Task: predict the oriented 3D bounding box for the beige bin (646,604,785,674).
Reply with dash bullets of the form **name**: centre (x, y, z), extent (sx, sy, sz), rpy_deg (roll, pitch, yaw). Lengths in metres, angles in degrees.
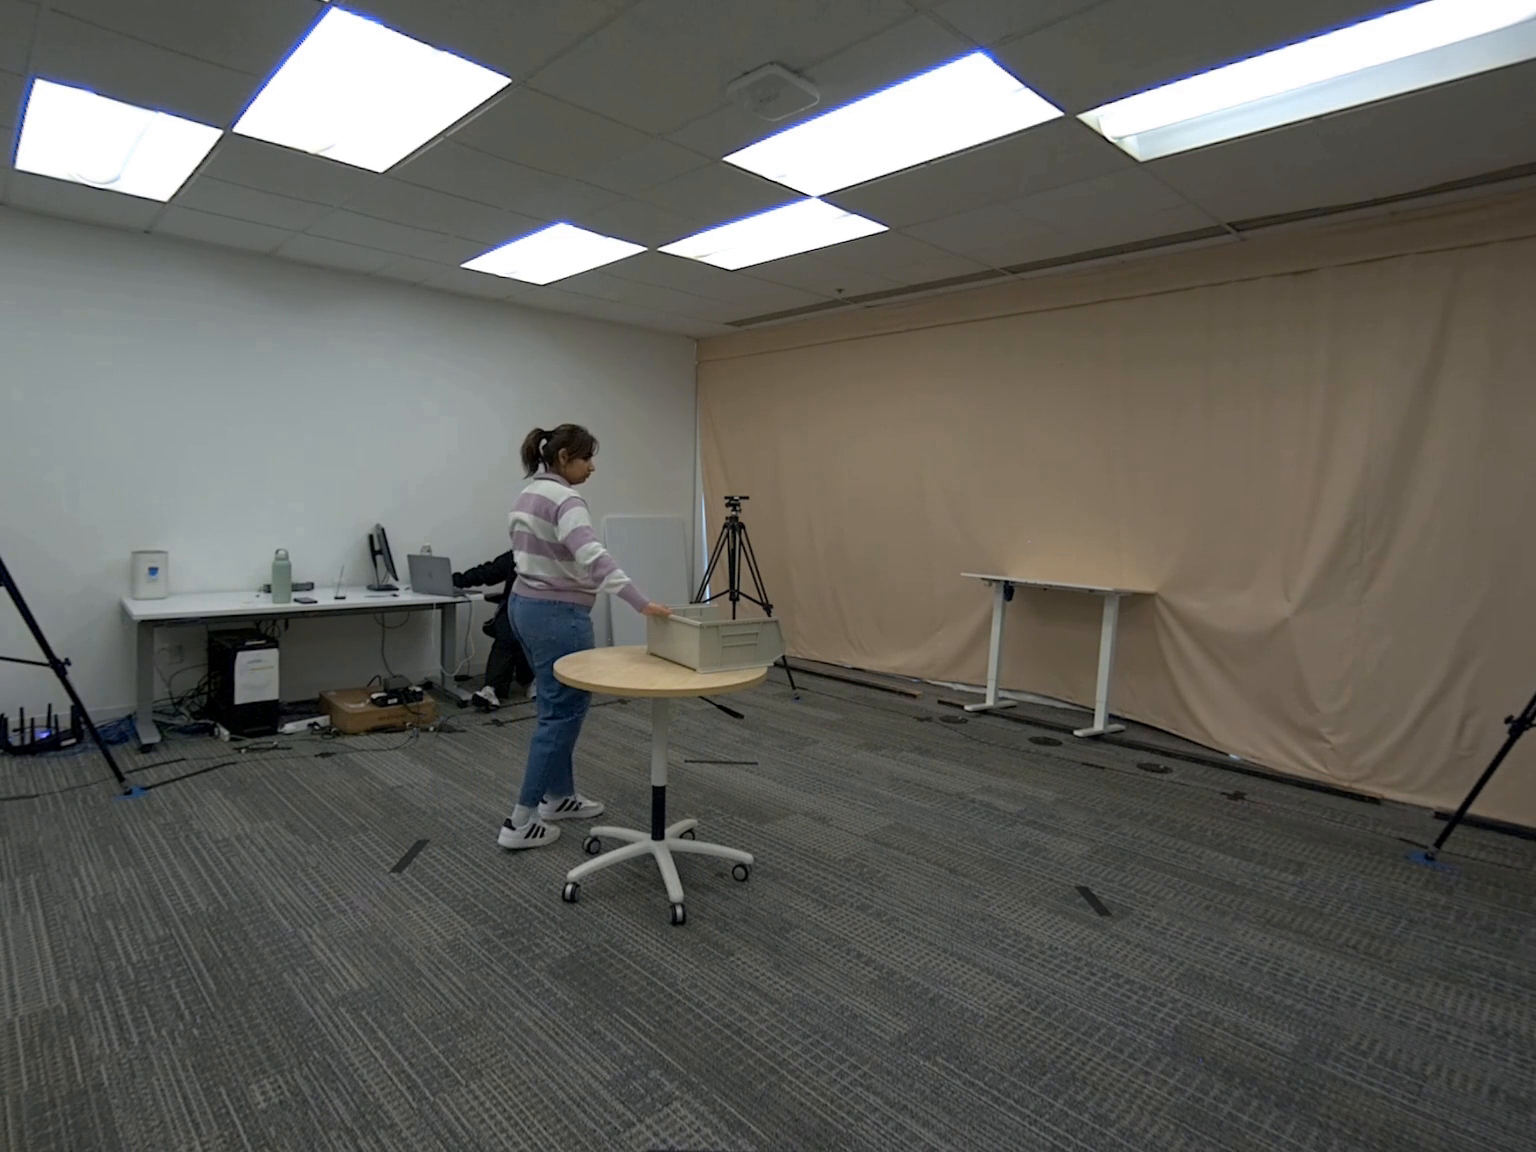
- **beige bin**: centre (-0.212, 0.223, 3.157), extent (0.370, 0.188, 0.433), rpy_deg (-5, 8, -34)
